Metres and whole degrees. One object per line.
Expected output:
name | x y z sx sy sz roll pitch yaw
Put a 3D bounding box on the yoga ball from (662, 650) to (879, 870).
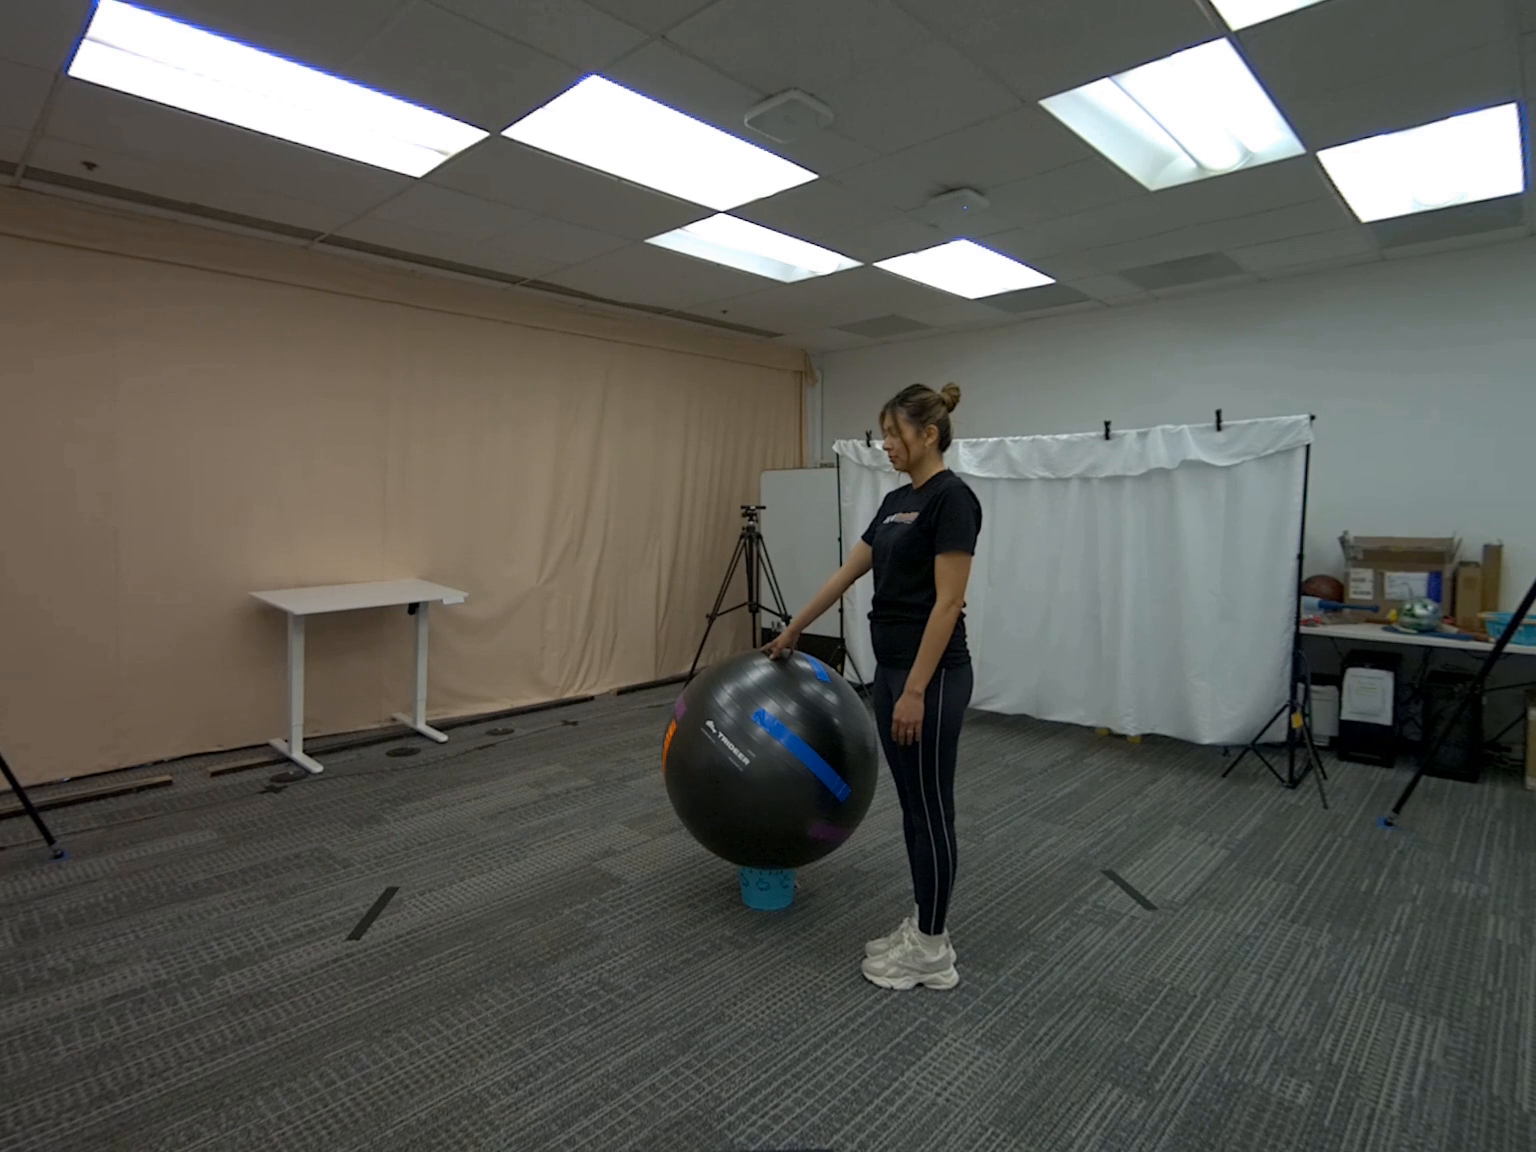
yoga ball | 0.010 0.640 2.964 0.757 0.756 0.760 0 4 -2
